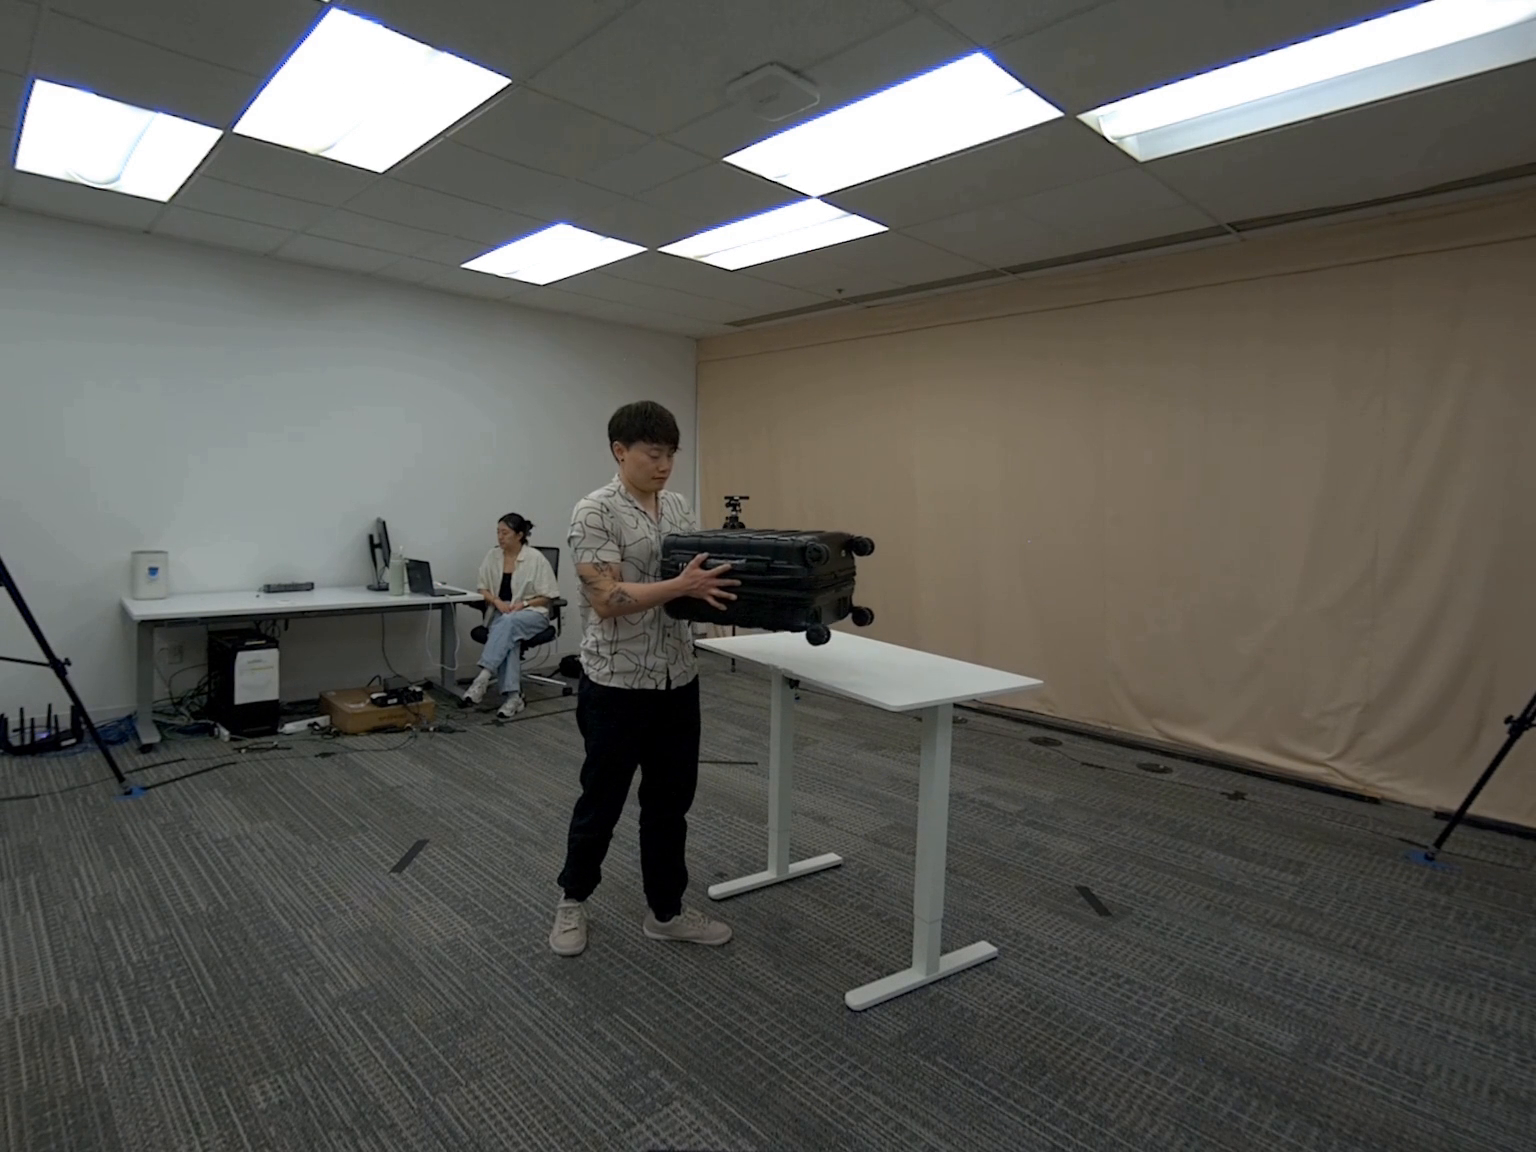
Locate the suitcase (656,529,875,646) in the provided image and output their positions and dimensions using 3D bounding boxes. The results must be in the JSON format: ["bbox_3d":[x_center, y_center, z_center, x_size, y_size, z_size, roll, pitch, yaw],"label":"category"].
[{"bbox_3d":[-0.028,0.003,2.411,0.561,0.247,0.369,4,7,30],"label":"suitcase"}]
